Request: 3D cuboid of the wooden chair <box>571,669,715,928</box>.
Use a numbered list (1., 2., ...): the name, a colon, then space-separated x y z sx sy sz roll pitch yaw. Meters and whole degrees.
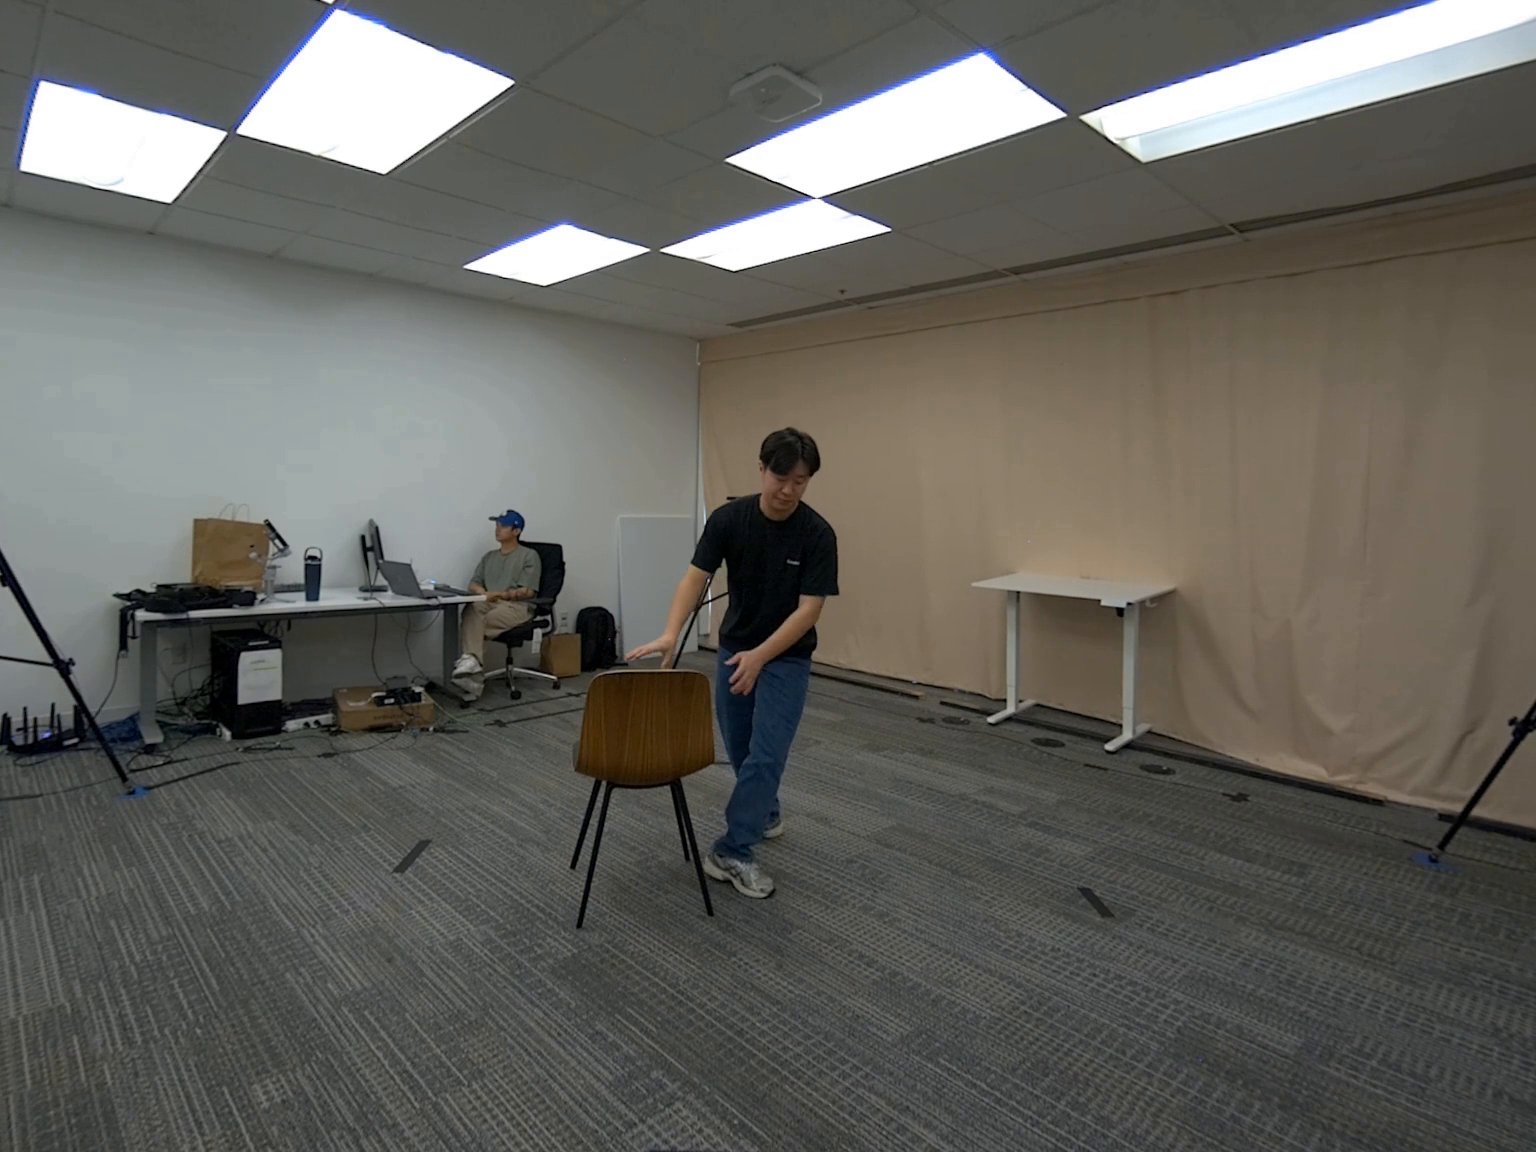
1. wooden chair: -0.449 0.689 2.941 0.473 0.873 0.532 1 8 -15
